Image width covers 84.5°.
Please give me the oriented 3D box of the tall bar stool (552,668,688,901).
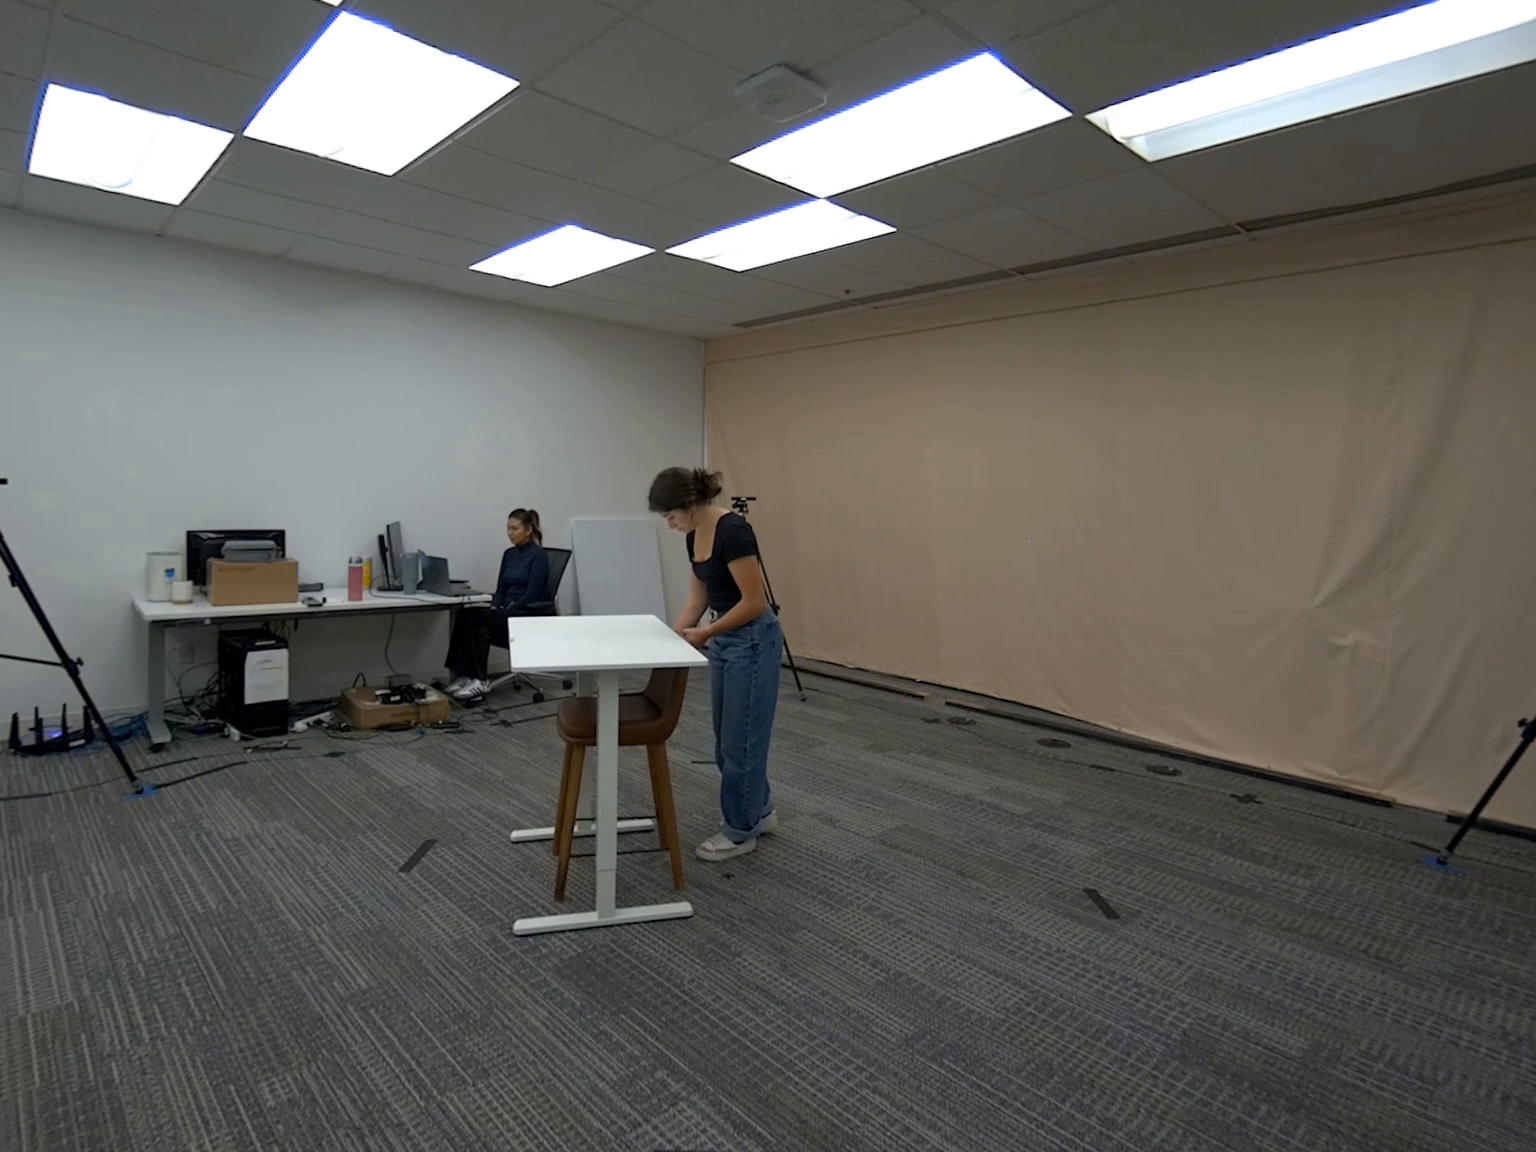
[{"bbox_3d":[-0.548,0.667,3.092,0.462,0.888,0.462,3,3,-14],"label":"tall bar stool"}]
